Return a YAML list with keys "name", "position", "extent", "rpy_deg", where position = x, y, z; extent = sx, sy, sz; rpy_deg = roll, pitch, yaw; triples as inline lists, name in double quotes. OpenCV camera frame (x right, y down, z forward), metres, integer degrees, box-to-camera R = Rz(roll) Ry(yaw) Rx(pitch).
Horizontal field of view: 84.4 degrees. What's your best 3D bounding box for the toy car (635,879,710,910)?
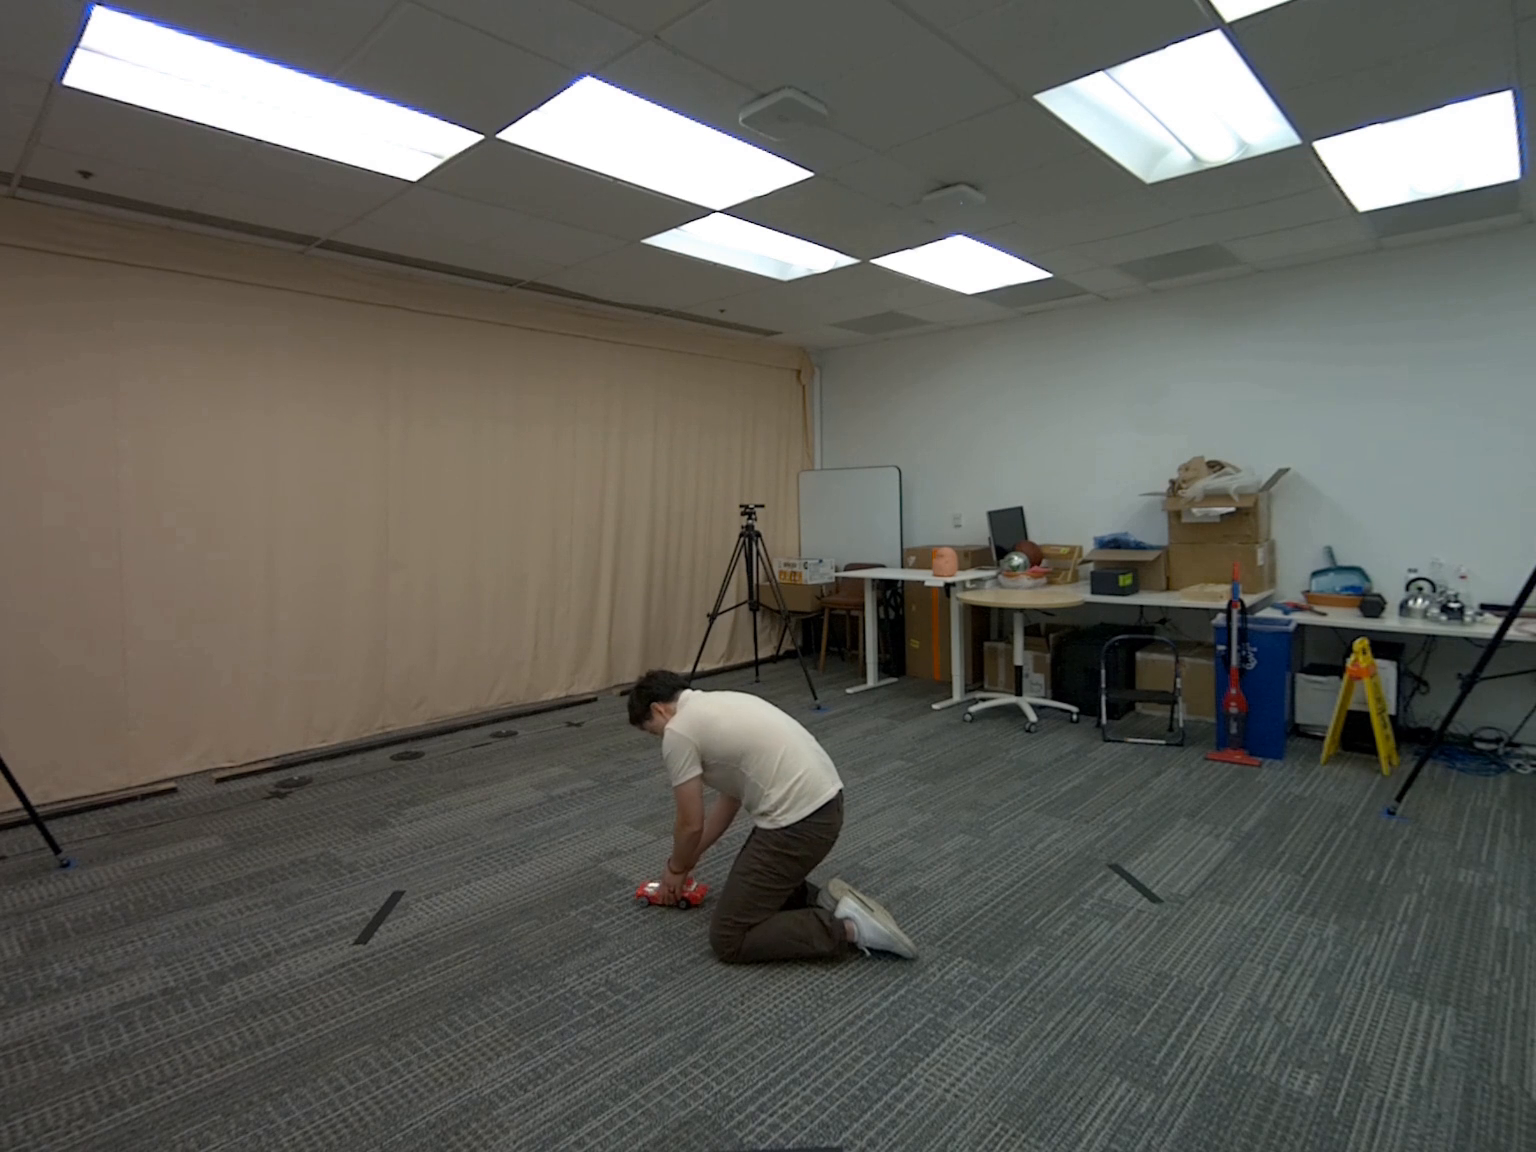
- name: "toy car"
  position: [-0.326, 1.121, 2.961]
  extent: [0.258, 0.083, 0.129]
  rpy_deg: [-12, 3, 13]
